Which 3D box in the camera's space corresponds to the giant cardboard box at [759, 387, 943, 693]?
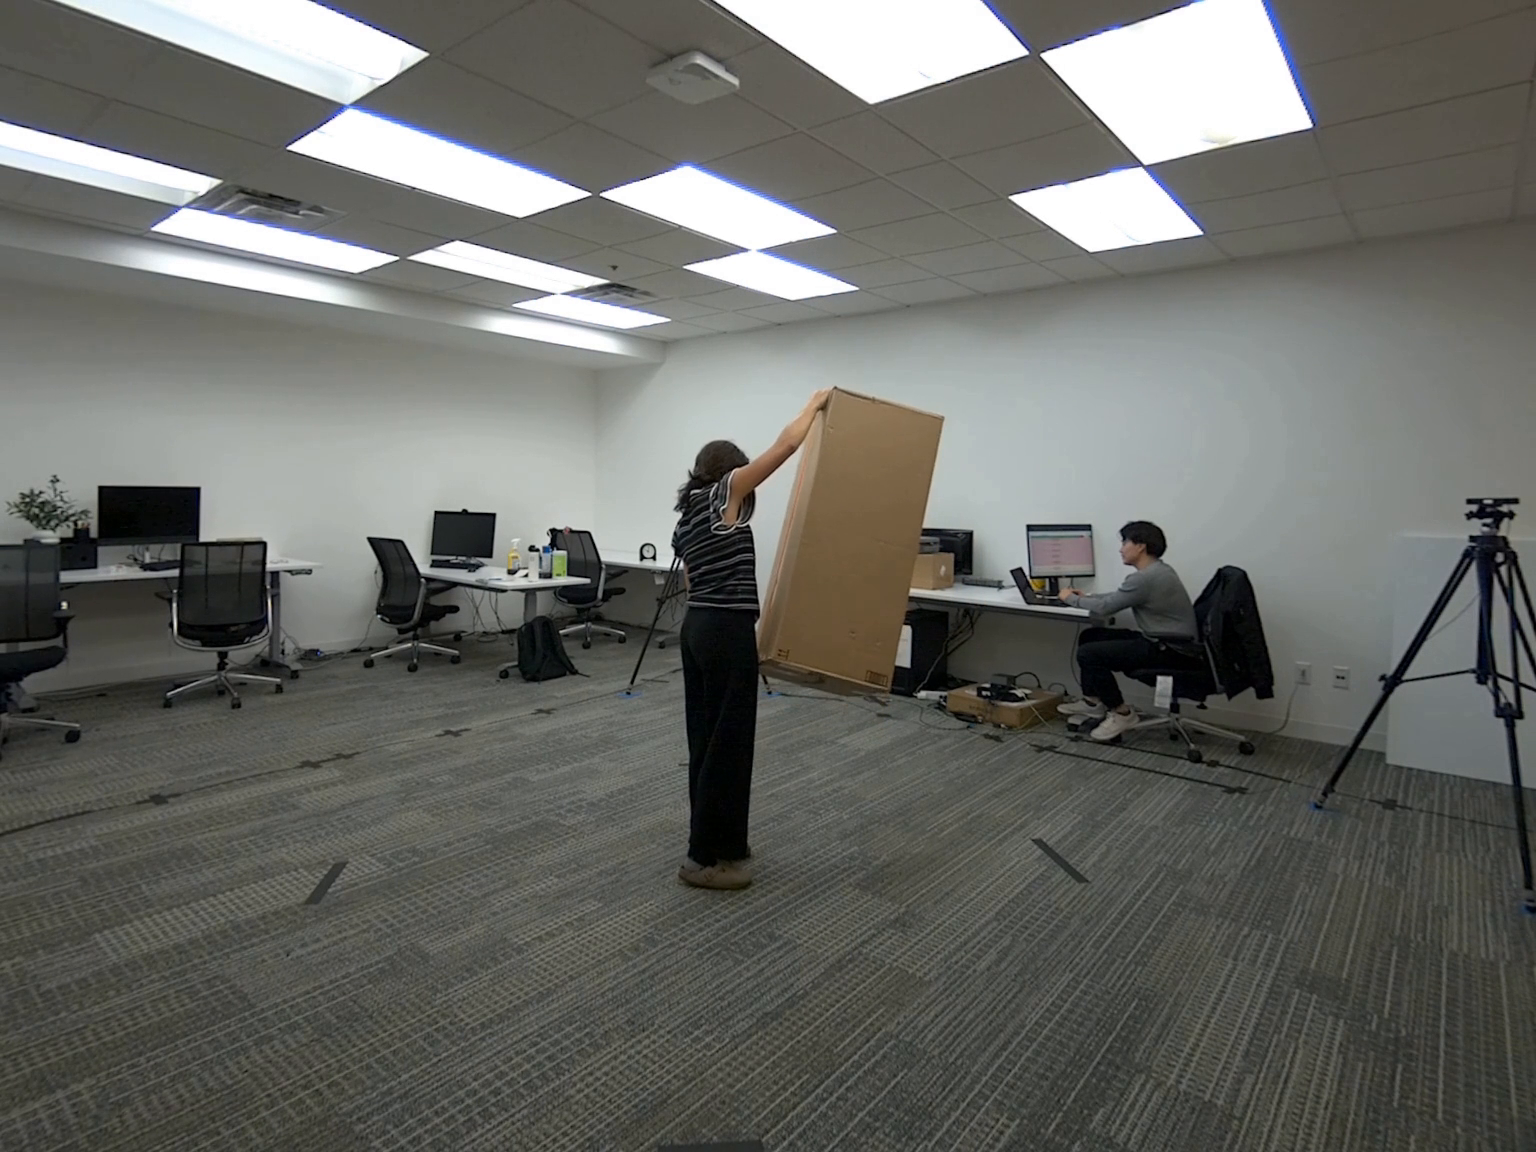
[{"bbox_3d":[0.266,-0.105,3.255,0.425,1.035,0.575,15,-12,-4],"label":"giant cardboard box"}]
